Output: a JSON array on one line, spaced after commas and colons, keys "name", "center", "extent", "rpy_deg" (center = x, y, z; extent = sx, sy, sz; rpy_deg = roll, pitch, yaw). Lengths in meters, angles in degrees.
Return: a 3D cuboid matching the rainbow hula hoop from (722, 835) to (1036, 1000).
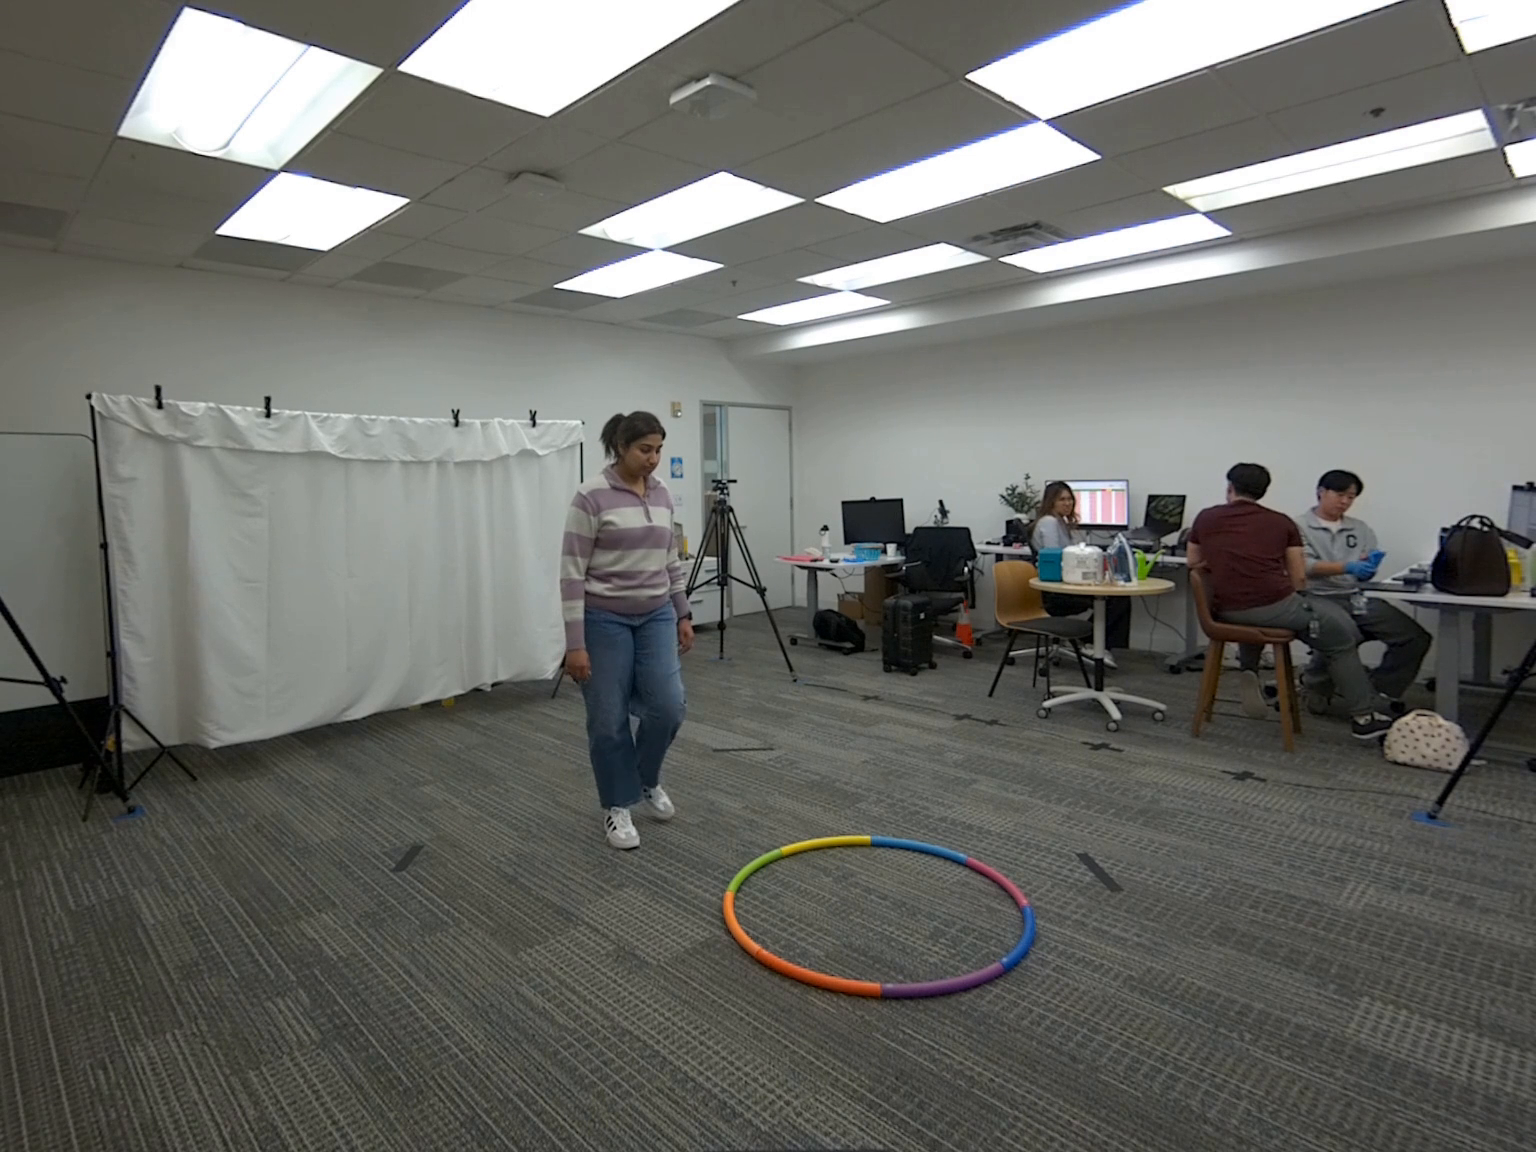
[{"name": "rainbow hula hoop", "center": [0.344, 1.050, 2.774], "extent": [0.978, 0.035, 0.984], "rpy_deg": [-2, 7, -2]}]
